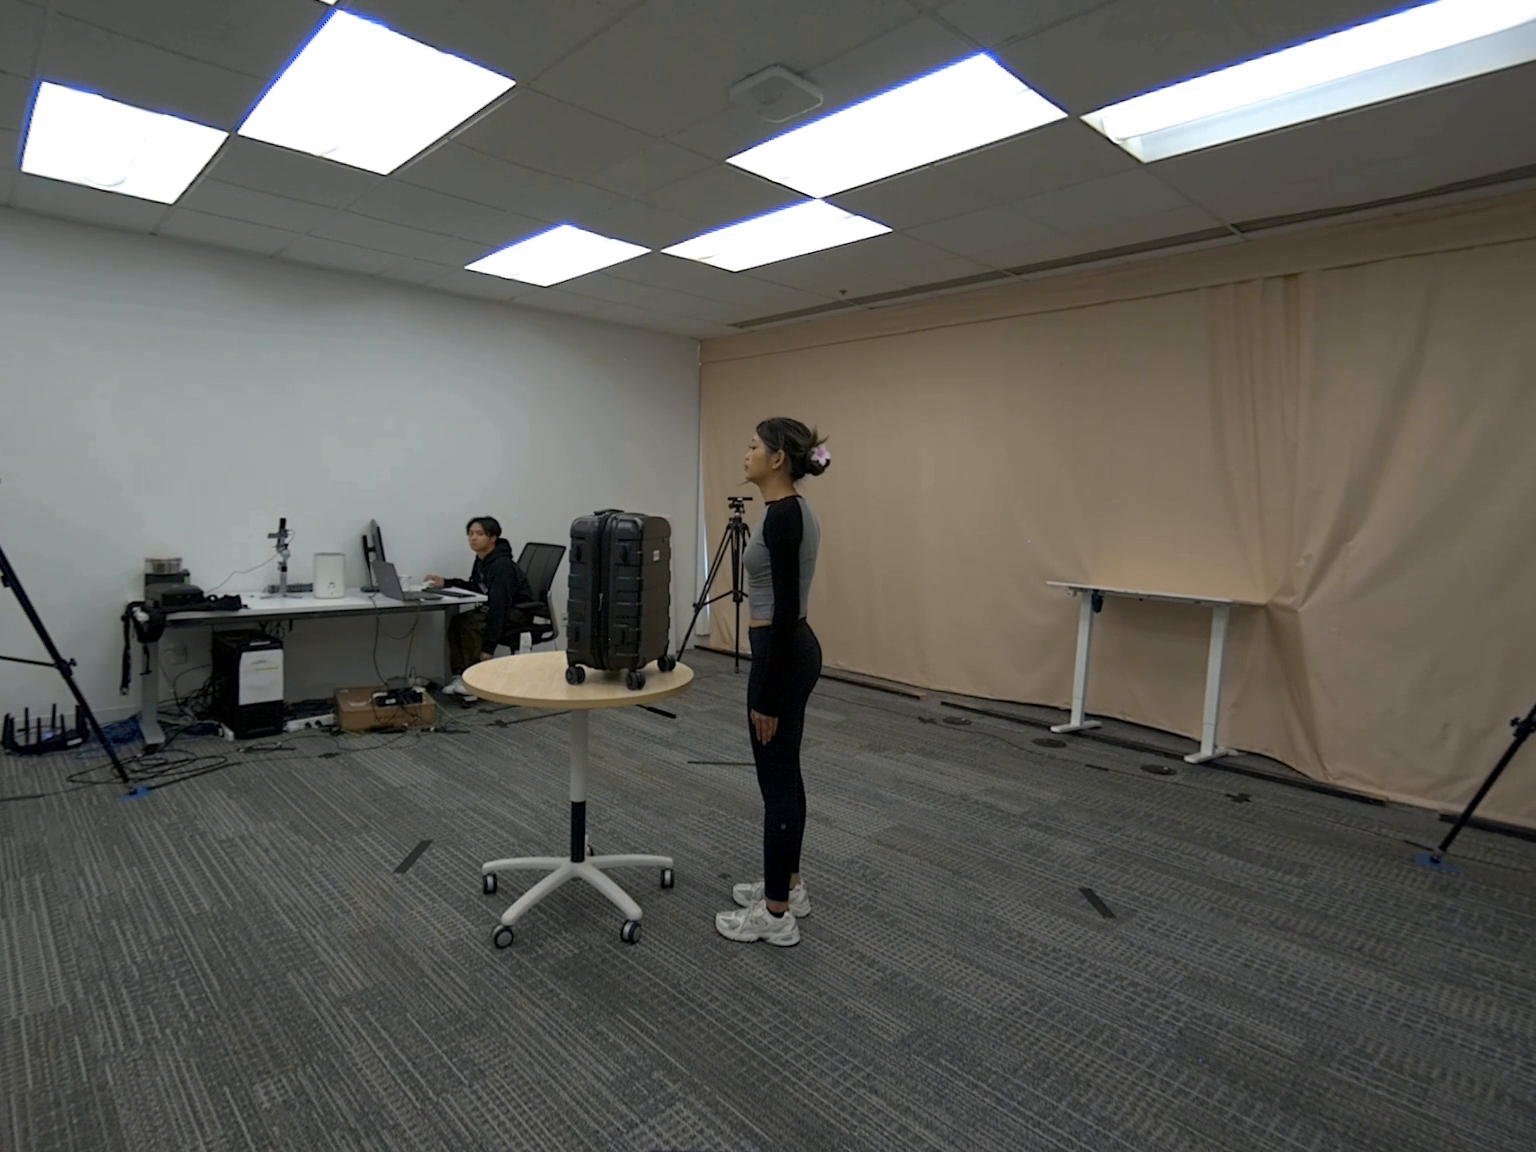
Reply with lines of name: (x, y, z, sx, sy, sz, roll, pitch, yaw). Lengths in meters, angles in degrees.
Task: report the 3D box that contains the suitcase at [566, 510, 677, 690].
suitcase: (-0.486, 0.057, 2.795, 0.251, 0.548, 0.372, 2, 3, 14)
